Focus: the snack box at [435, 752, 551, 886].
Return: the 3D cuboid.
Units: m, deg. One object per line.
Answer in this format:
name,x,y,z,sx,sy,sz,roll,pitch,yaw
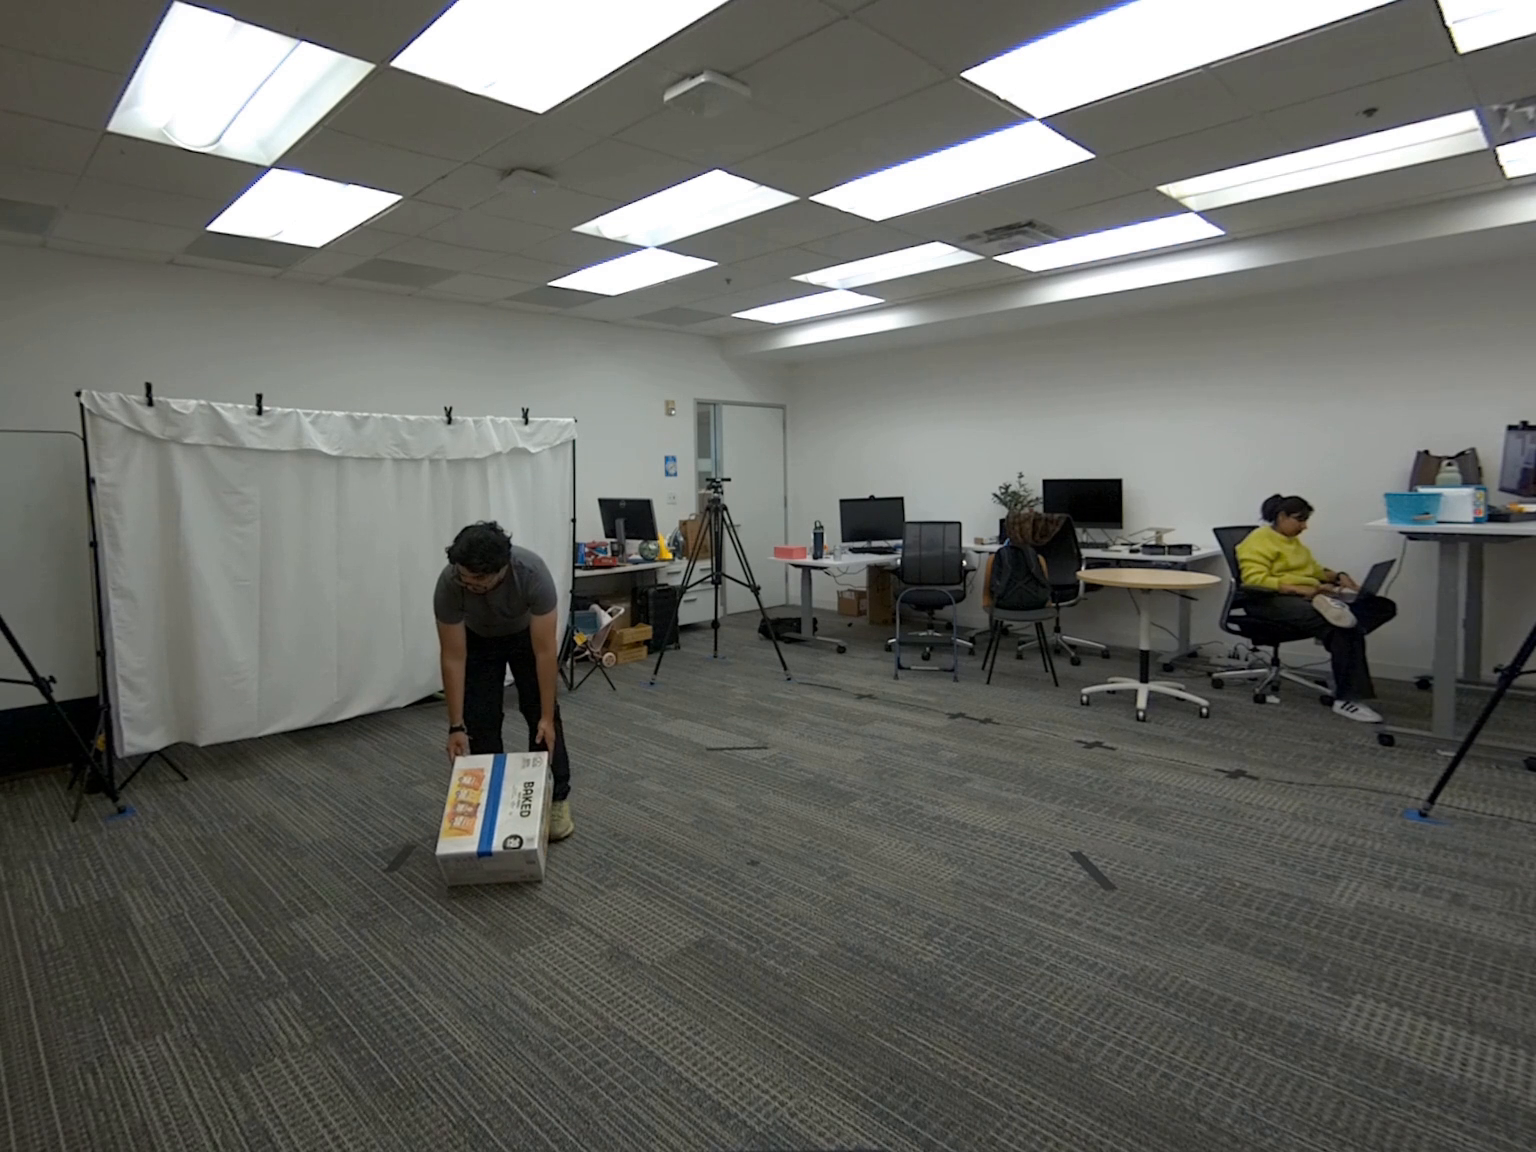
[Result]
snack box,-0.967,0.870,3.079,0.339,0.200,0.417,-3,40,-4
